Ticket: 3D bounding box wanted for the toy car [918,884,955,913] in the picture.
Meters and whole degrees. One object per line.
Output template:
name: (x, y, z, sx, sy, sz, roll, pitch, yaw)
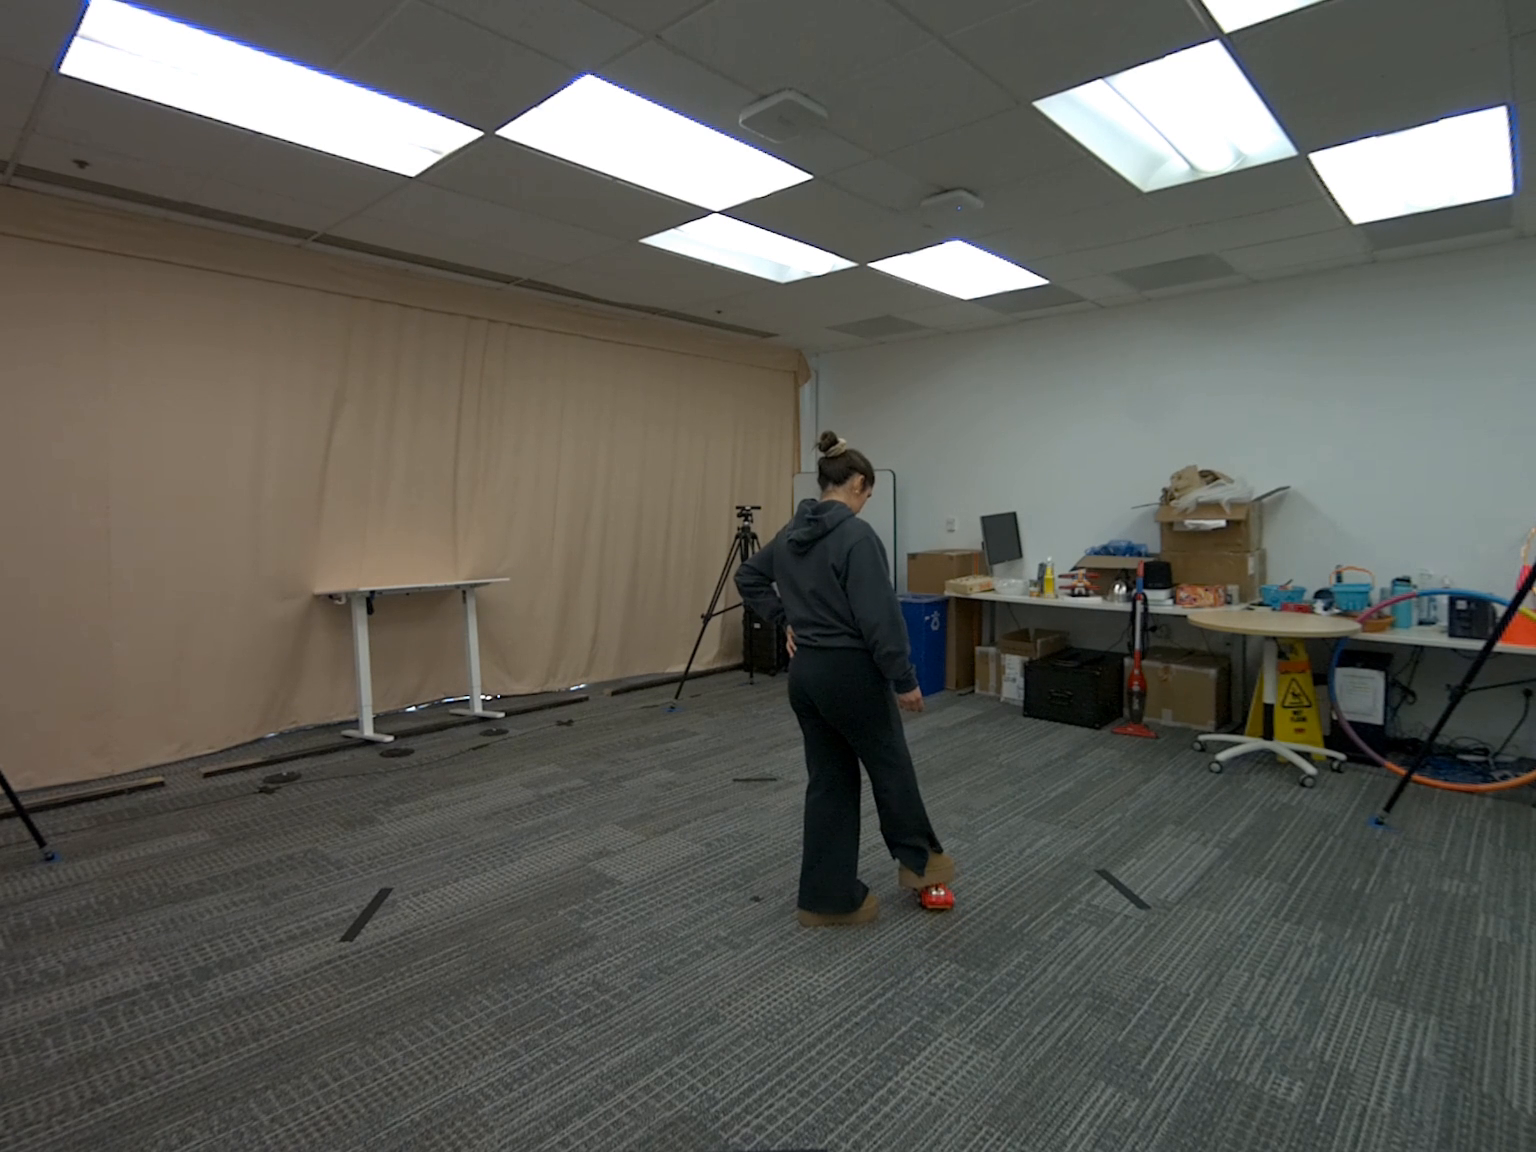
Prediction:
toy car: (0.611, 1.108, 2.957, 0.130, 0.083, 0.254, -1, -5, -2)
